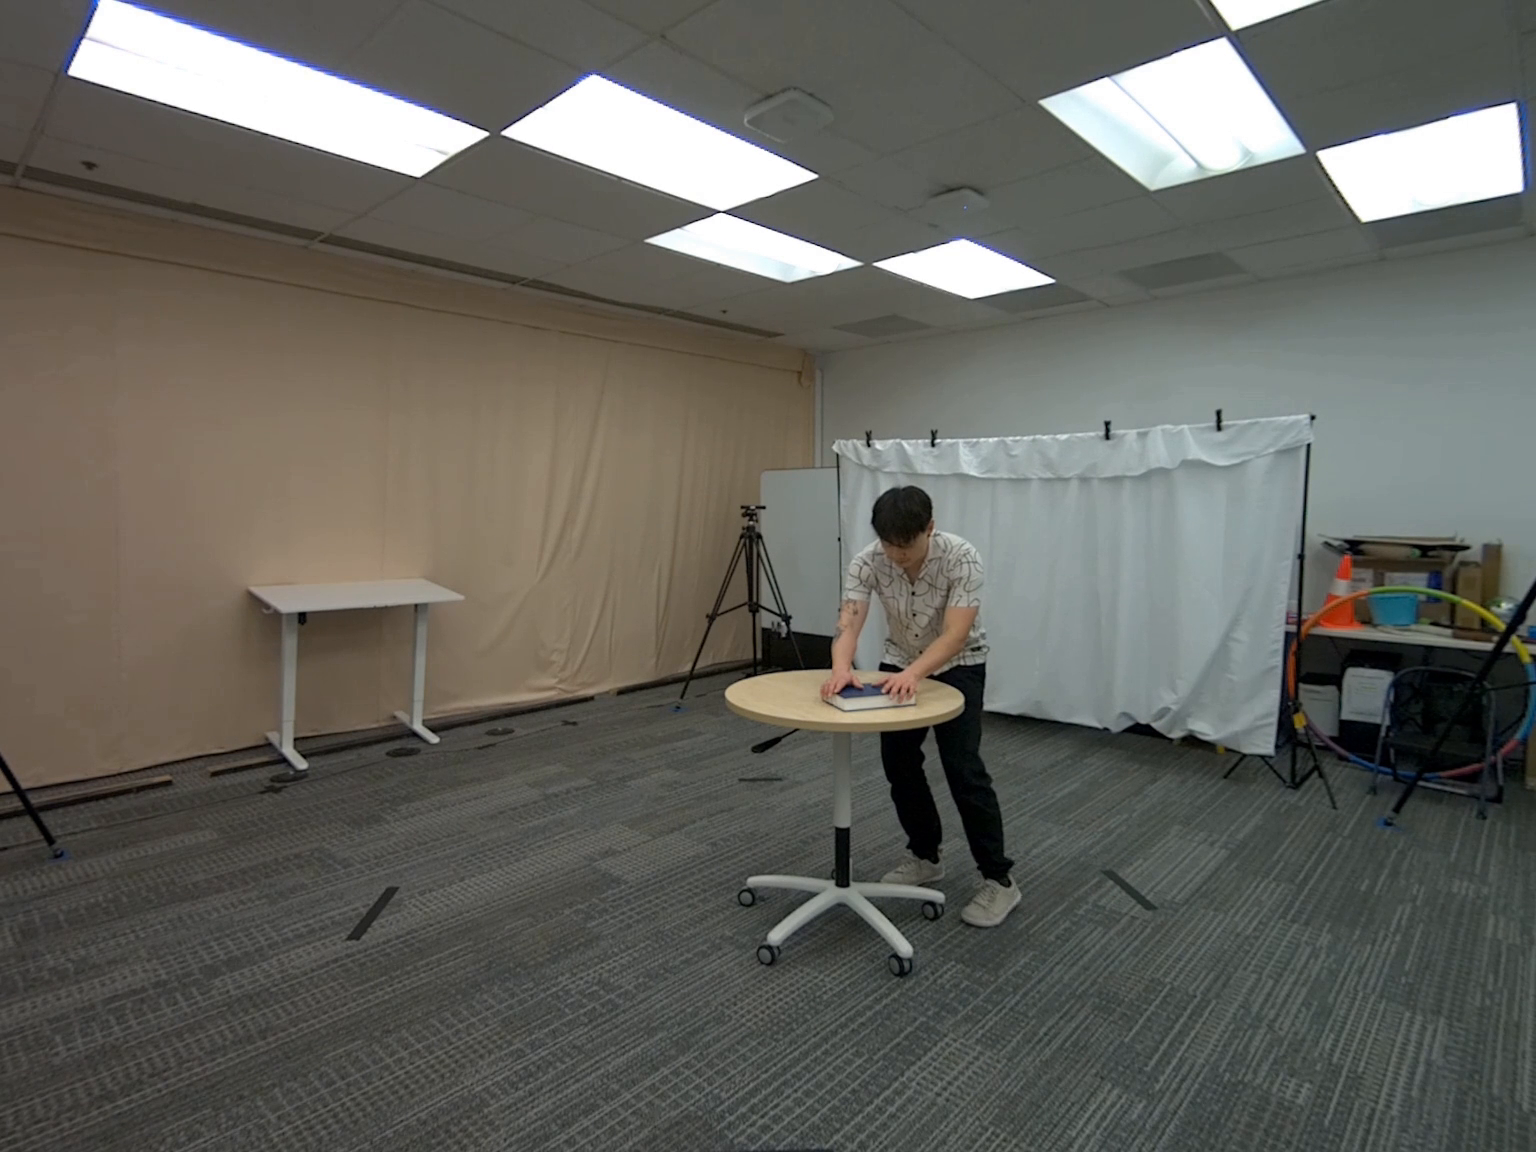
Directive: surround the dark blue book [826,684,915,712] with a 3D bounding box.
[{"bbox_3d":[0.317,0.377,2.602,0.241,0.045,0.166,-2,5,-16],"label":"dark blue book"}]
